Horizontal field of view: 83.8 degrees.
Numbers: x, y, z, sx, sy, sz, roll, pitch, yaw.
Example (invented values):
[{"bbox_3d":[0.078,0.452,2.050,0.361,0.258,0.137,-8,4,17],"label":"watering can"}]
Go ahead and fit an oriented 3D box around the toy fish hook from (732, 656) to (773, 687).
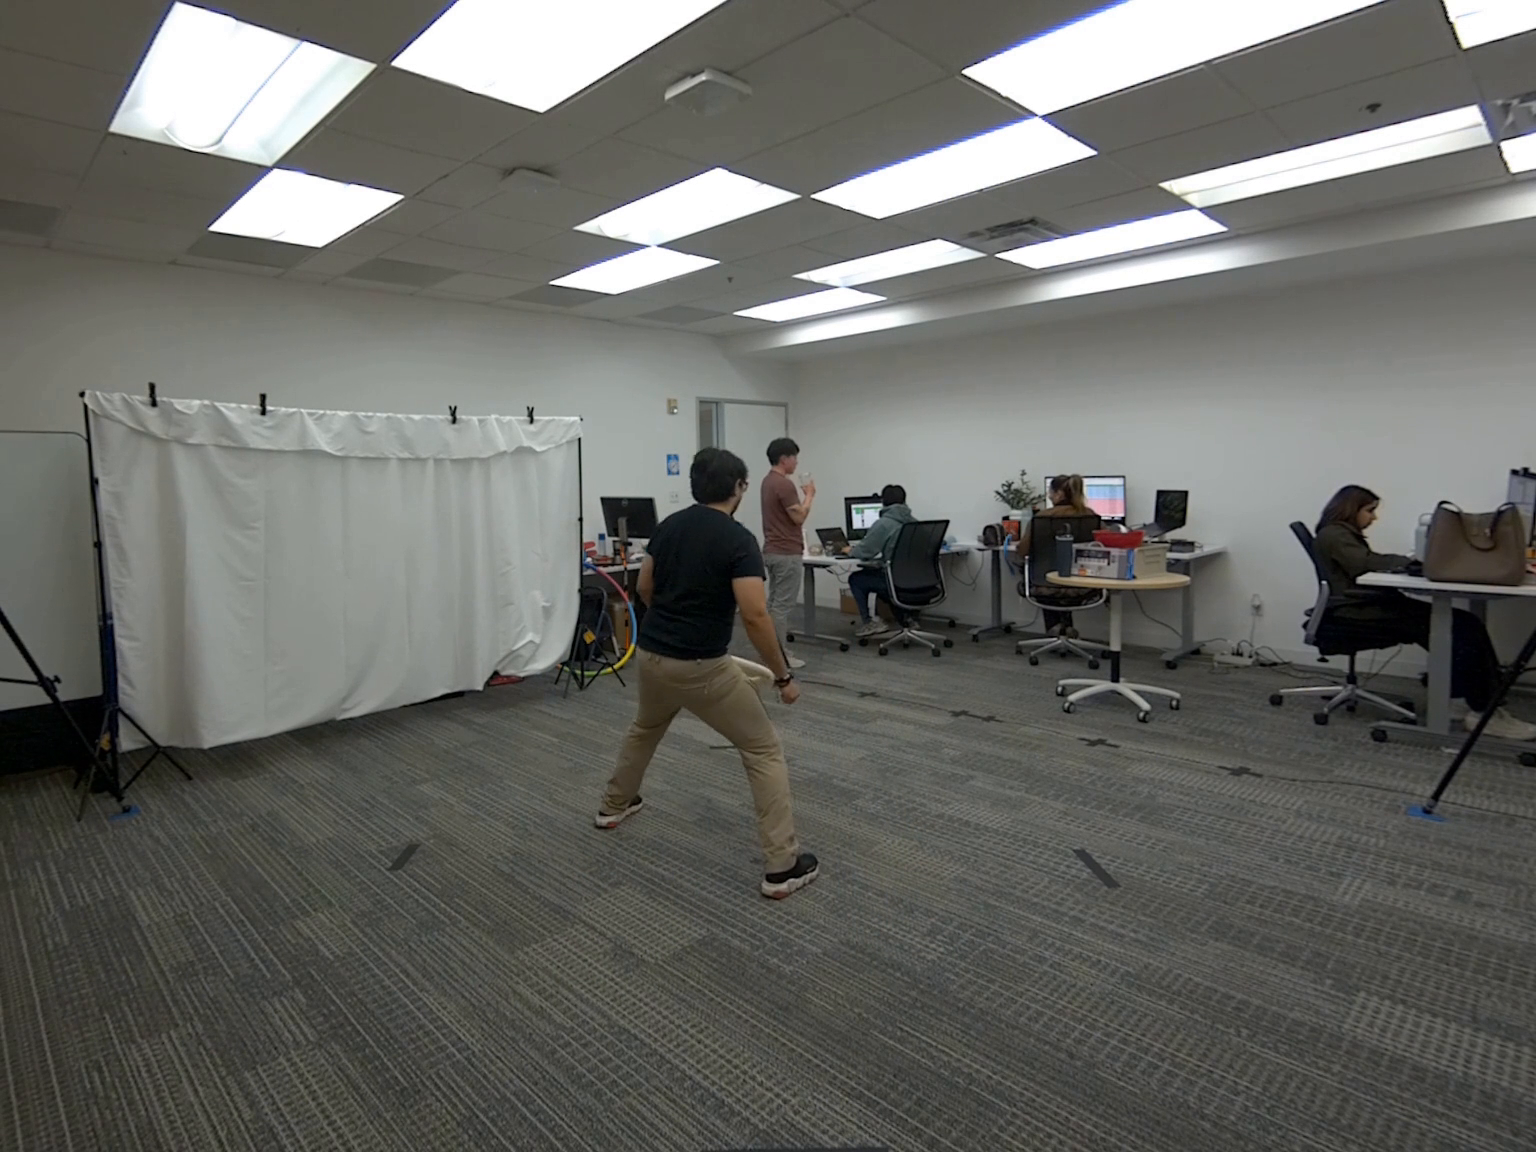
[{"bbox_3d":[-0.200,0.349,3.516,0.494,0.049,0.227,27,-31,-22],"label":"toy fish hook"}]
